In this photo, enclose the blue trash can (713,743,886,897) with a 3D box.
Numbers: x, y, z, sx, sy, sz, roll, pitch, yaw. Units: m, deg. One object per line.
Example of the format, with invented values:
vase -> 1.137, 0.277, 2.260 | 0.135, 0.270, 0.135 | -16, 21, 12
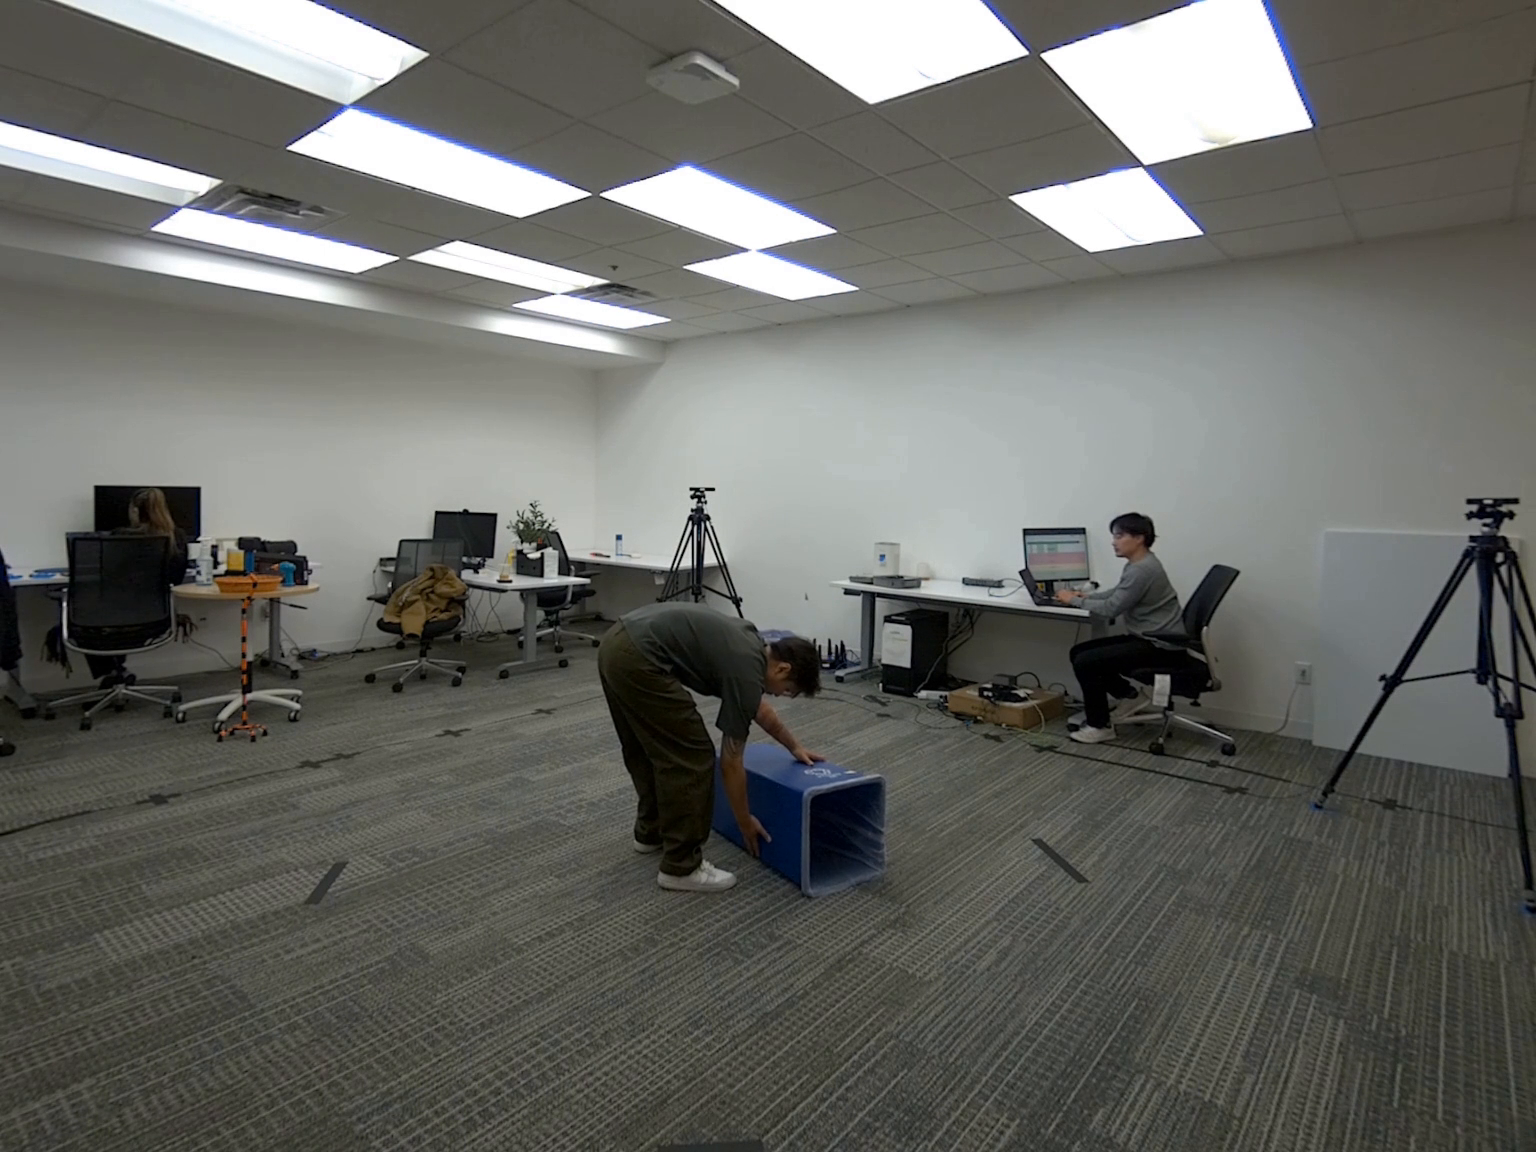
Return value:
blue trash can -> 0.066, 0.894, 3.280 | 0.367, 0.374, 0.735 | -2, 3, -34
